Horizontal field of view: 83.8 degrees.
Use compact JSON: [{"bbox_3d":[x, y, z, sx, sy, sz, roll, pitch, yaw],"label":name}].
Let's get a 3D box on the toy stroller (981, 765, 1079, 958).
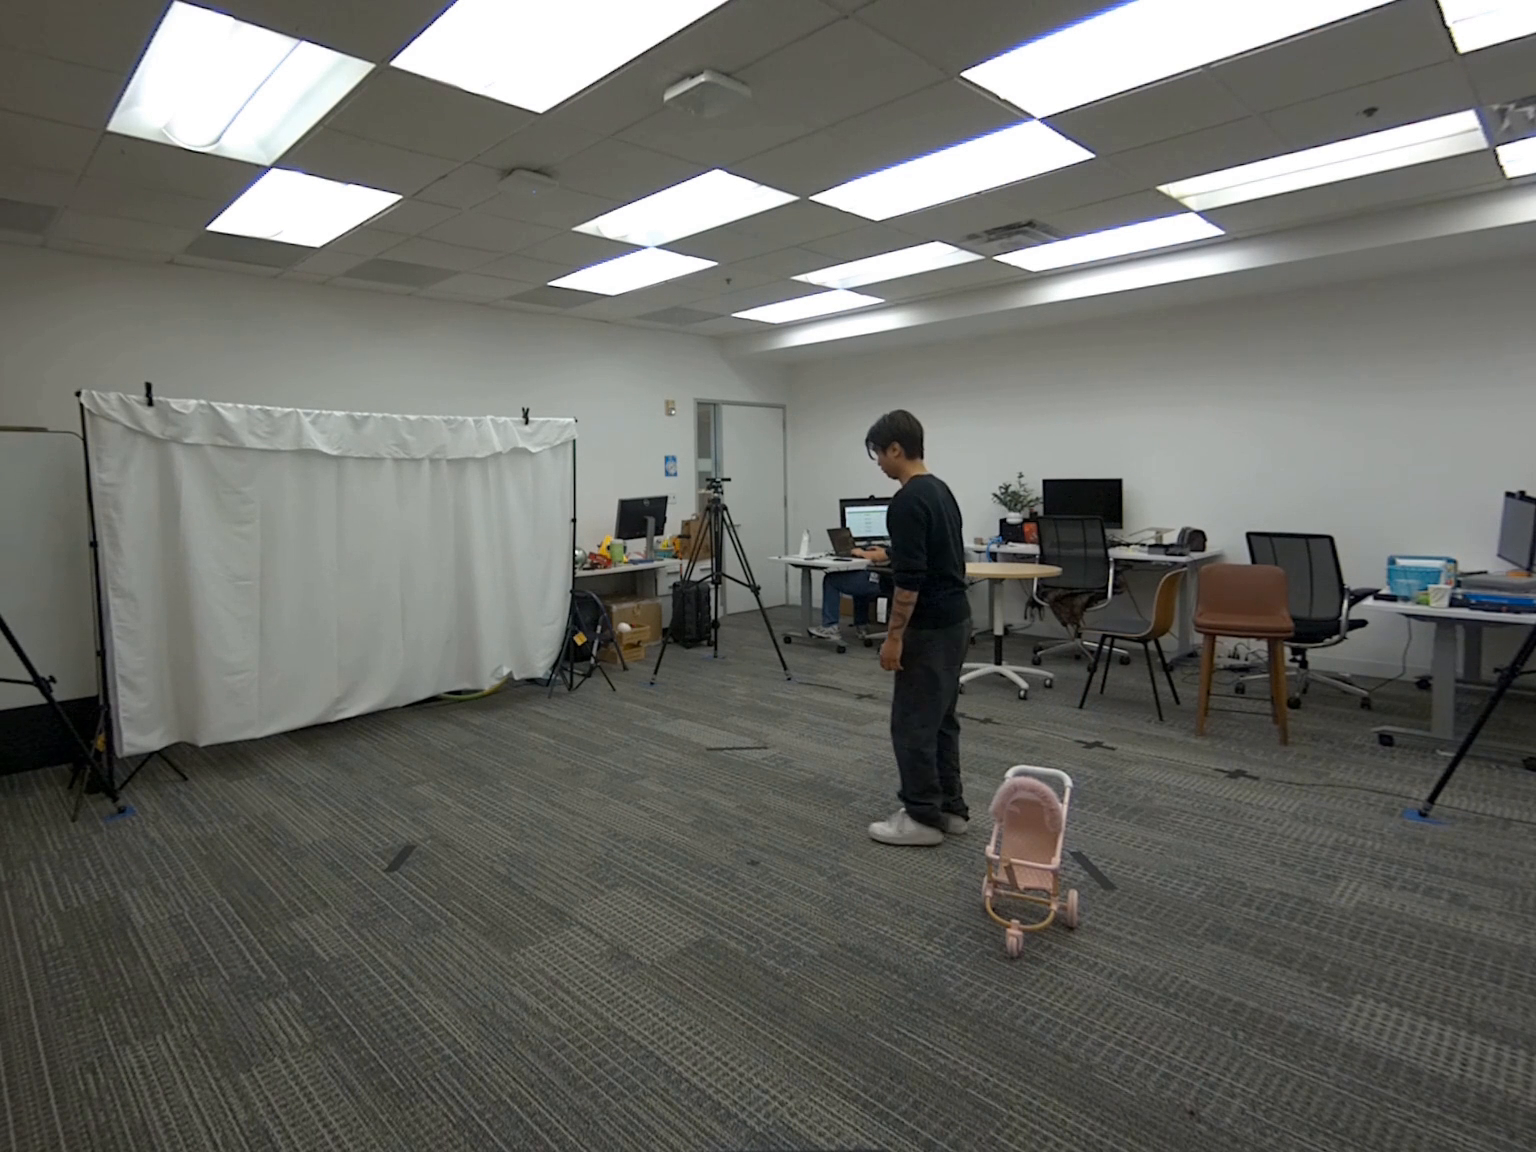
[{"bbox_3d":[0.794,0.864,2.626,0.289,0.539,0.330,1,-11,31],"label":"toy stroller"}]
